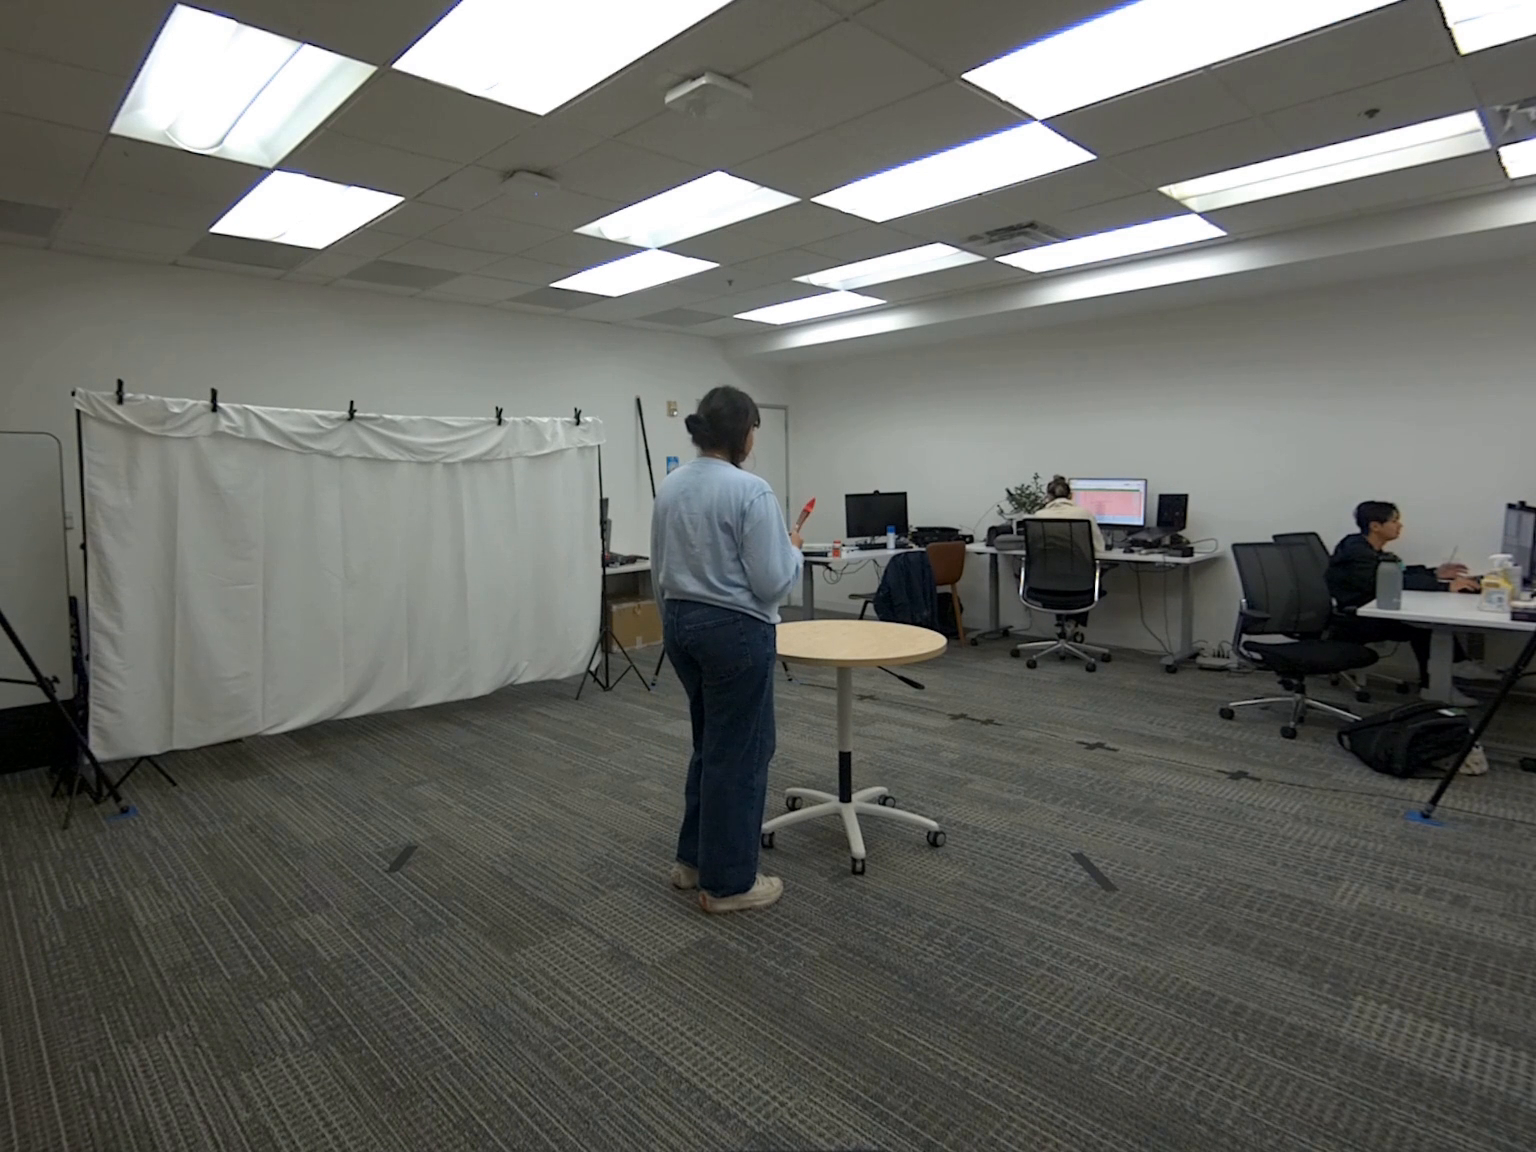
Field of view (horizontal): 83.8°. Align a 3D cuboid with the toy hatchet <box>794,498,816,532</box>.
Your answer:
[{"bbox_3d":[0.100,-0.150,2.928,0.030,0.272,0.129,28,-30,0],"label":"toy hatchet"}]
